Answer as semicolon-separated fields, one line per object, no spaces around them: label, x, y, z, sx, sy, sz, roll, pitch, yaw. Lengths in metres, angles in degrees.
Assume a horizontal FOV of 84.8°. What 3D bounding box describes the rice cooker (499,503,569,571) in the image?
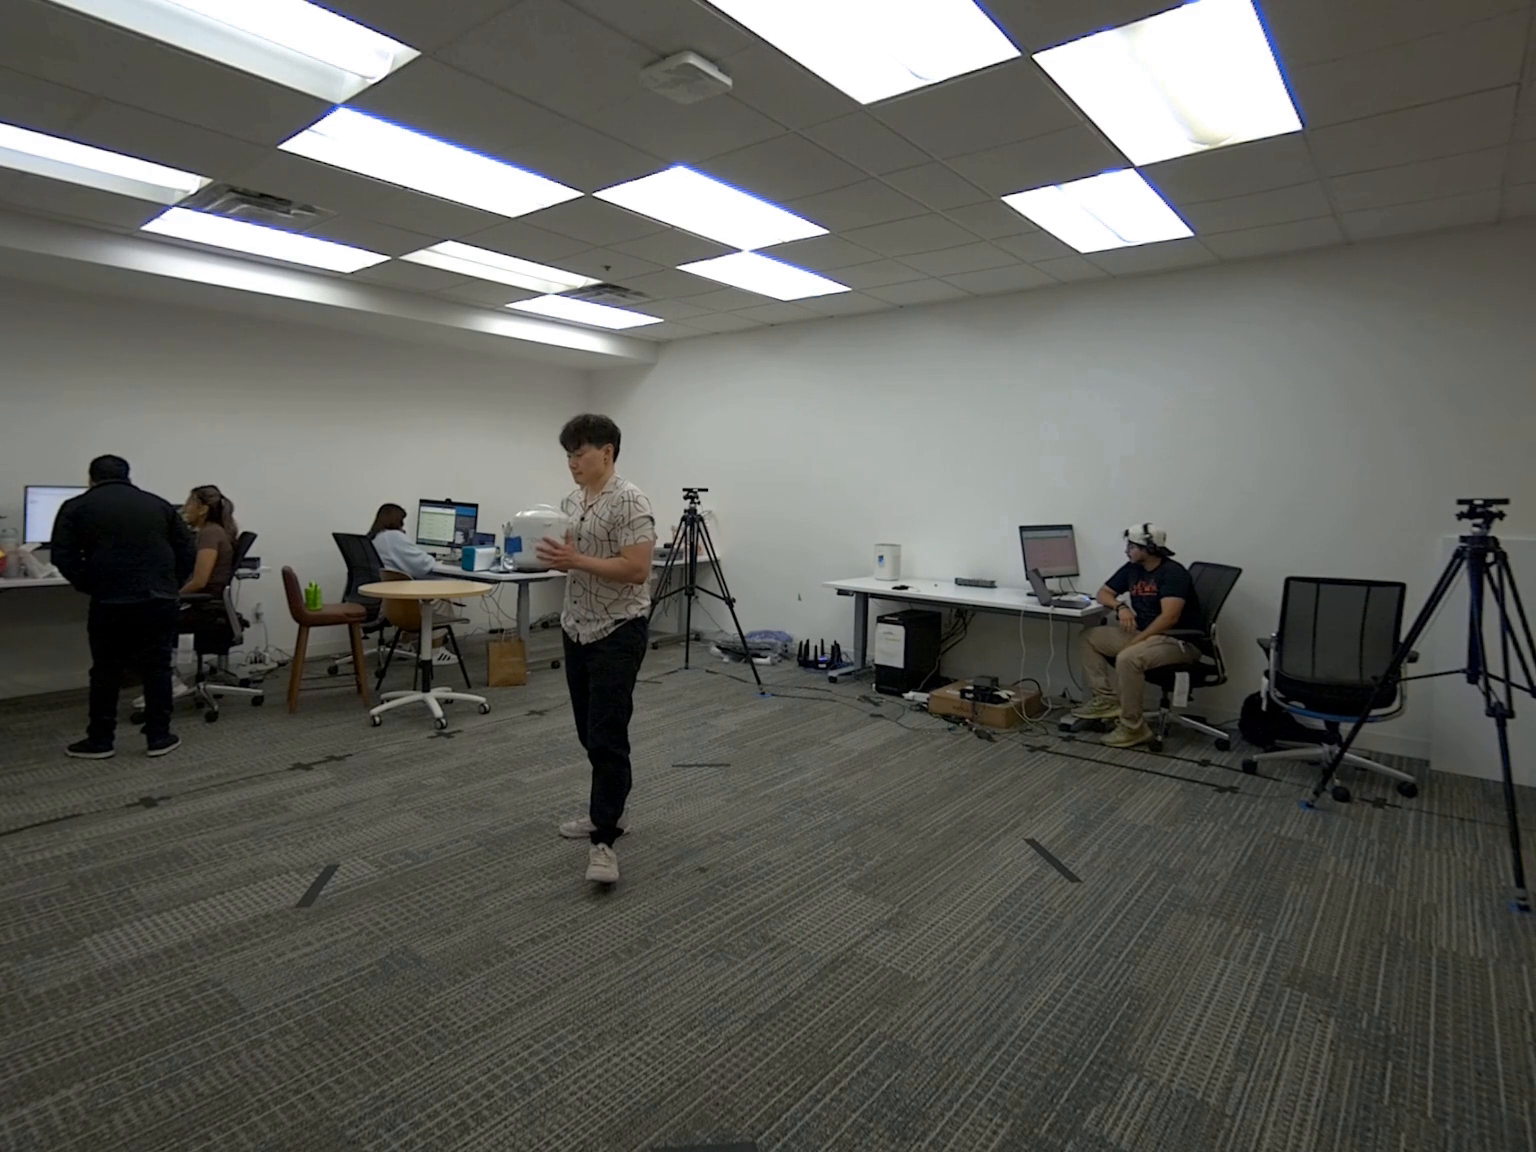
rice cooker;-0.844;-0.153;3.141;0.226;0.232;0.213;3;5;24
